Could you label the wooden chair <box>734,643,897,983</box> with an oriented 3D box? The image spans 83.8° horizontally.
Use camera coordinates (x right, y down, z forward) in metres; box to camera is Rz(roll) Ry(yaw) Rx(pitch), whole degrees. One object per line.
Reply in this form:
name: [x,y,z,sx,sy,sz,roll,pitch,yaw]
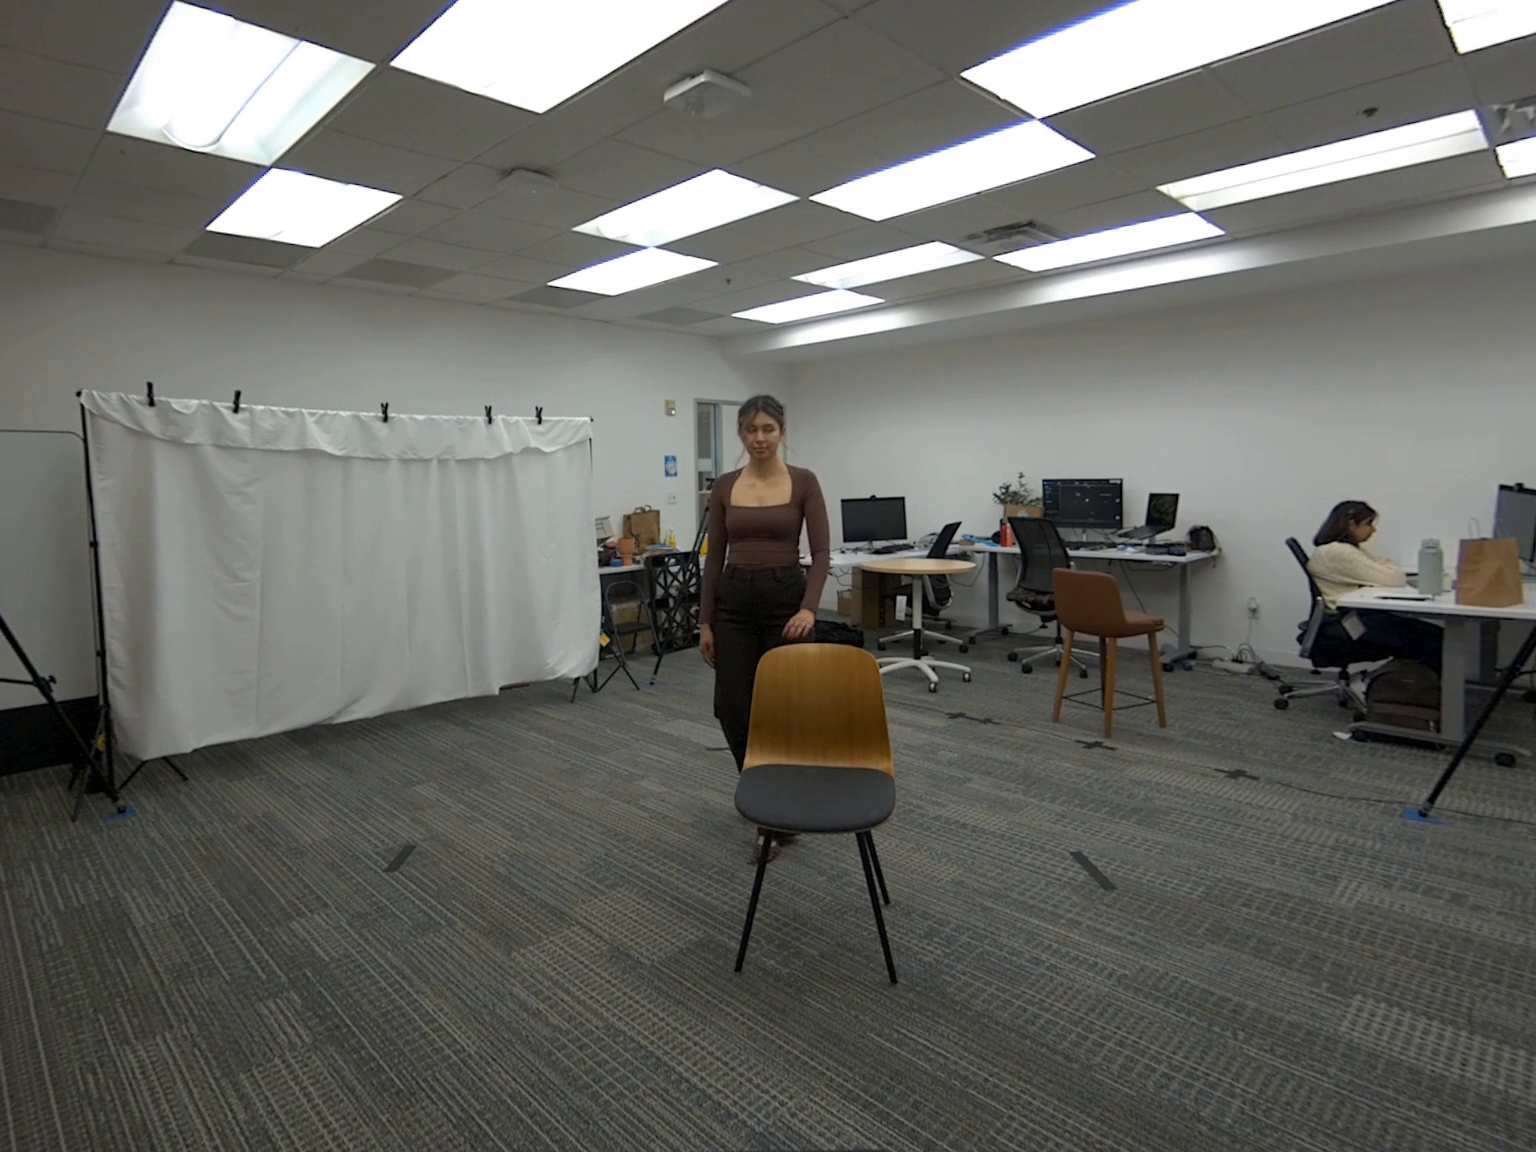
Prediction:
wooden chair: [0.149,0.673,2.564,0.482,0.878,0.519,0,0,7]
